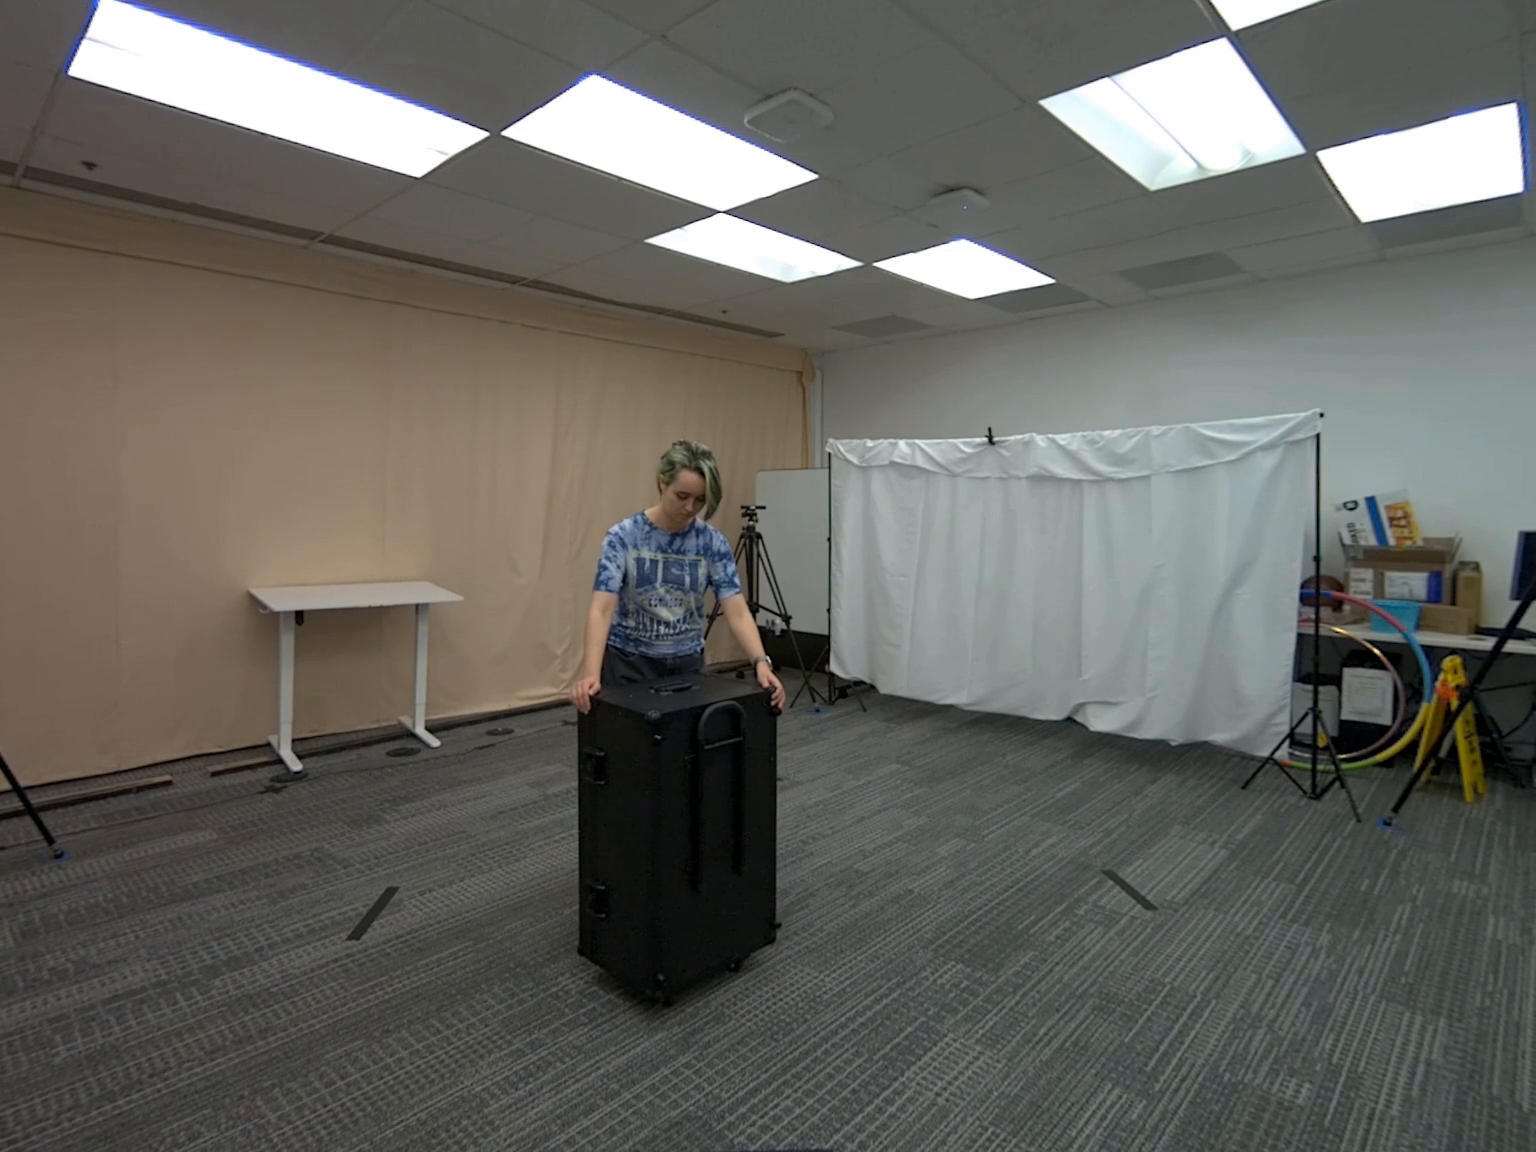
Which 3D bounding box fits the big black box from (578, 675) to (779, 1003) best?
[{"bbox_3d":[-0.246,0.767,2.497,0.409,0.859,0.505,4,5,44],"label":"big black box"}]
